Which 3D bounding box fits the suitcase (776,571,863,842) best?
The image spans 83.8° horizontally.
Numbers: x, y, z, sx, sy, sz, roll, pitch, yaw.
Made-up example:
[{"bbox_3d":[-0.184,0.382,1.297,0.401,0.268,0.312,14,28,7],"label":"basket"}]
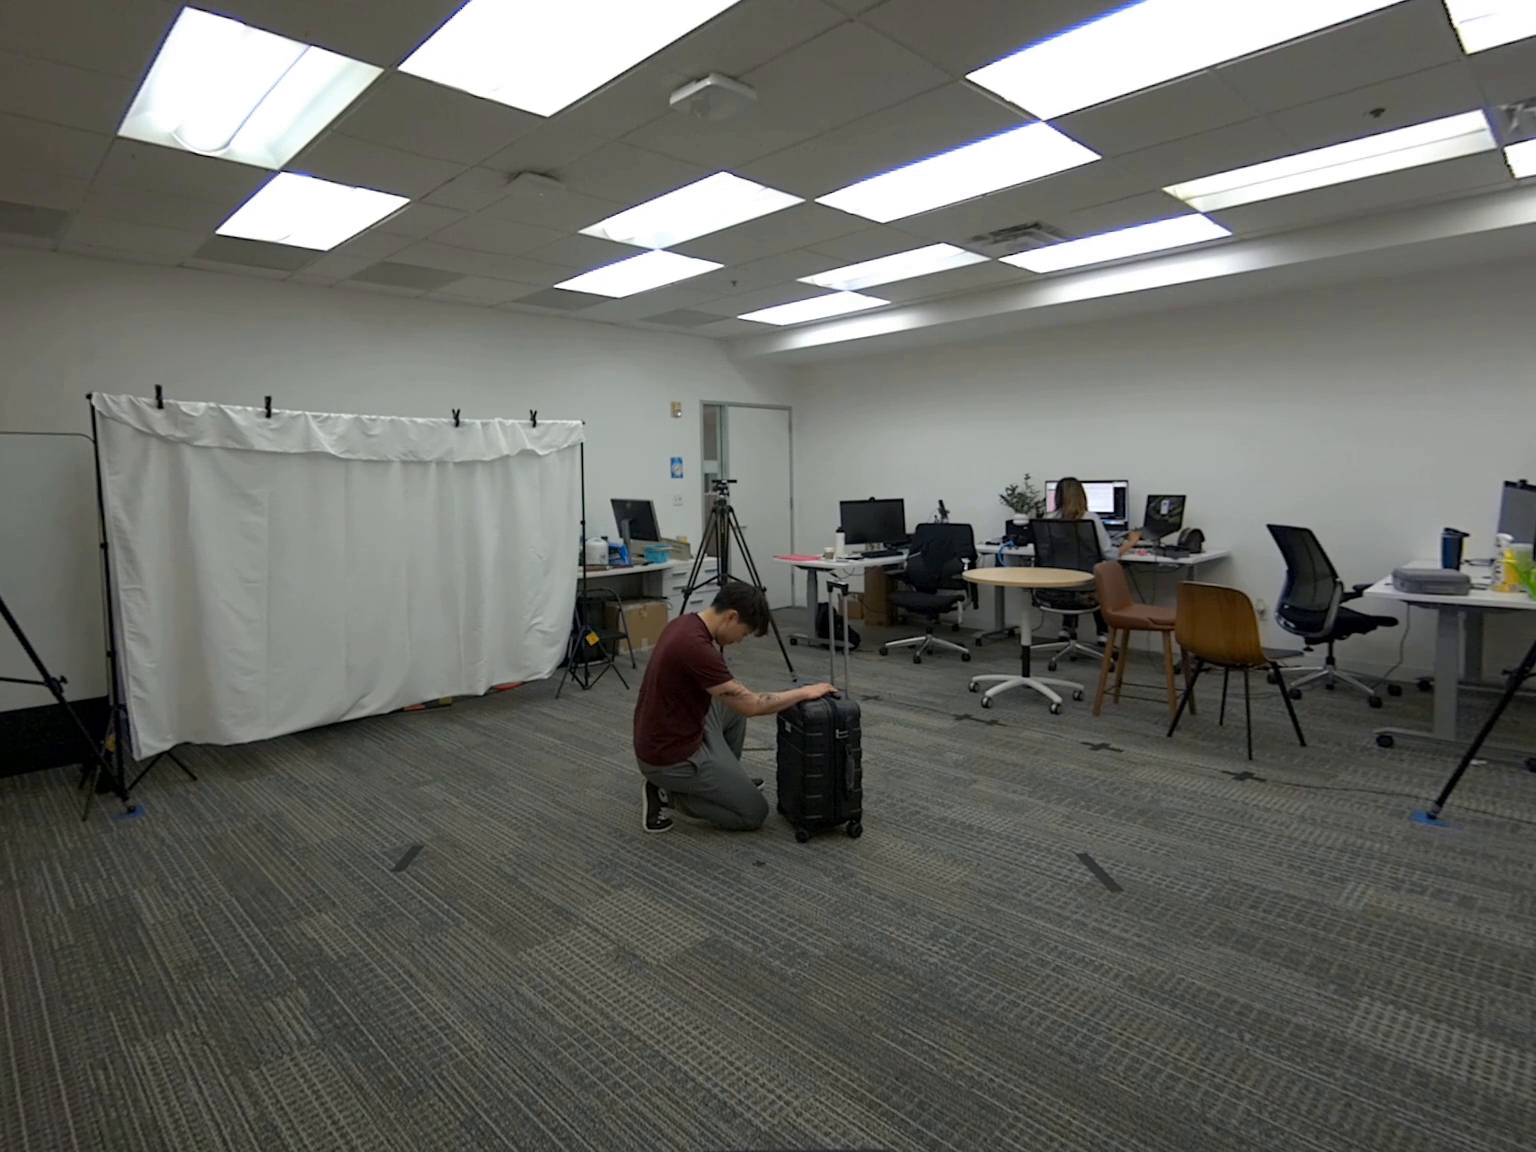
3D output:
[{"bbox_3d":[0.195,0.525,3.423,0.253,0.976,0.390,-3,3,-16],"label":"suitcase"}]
